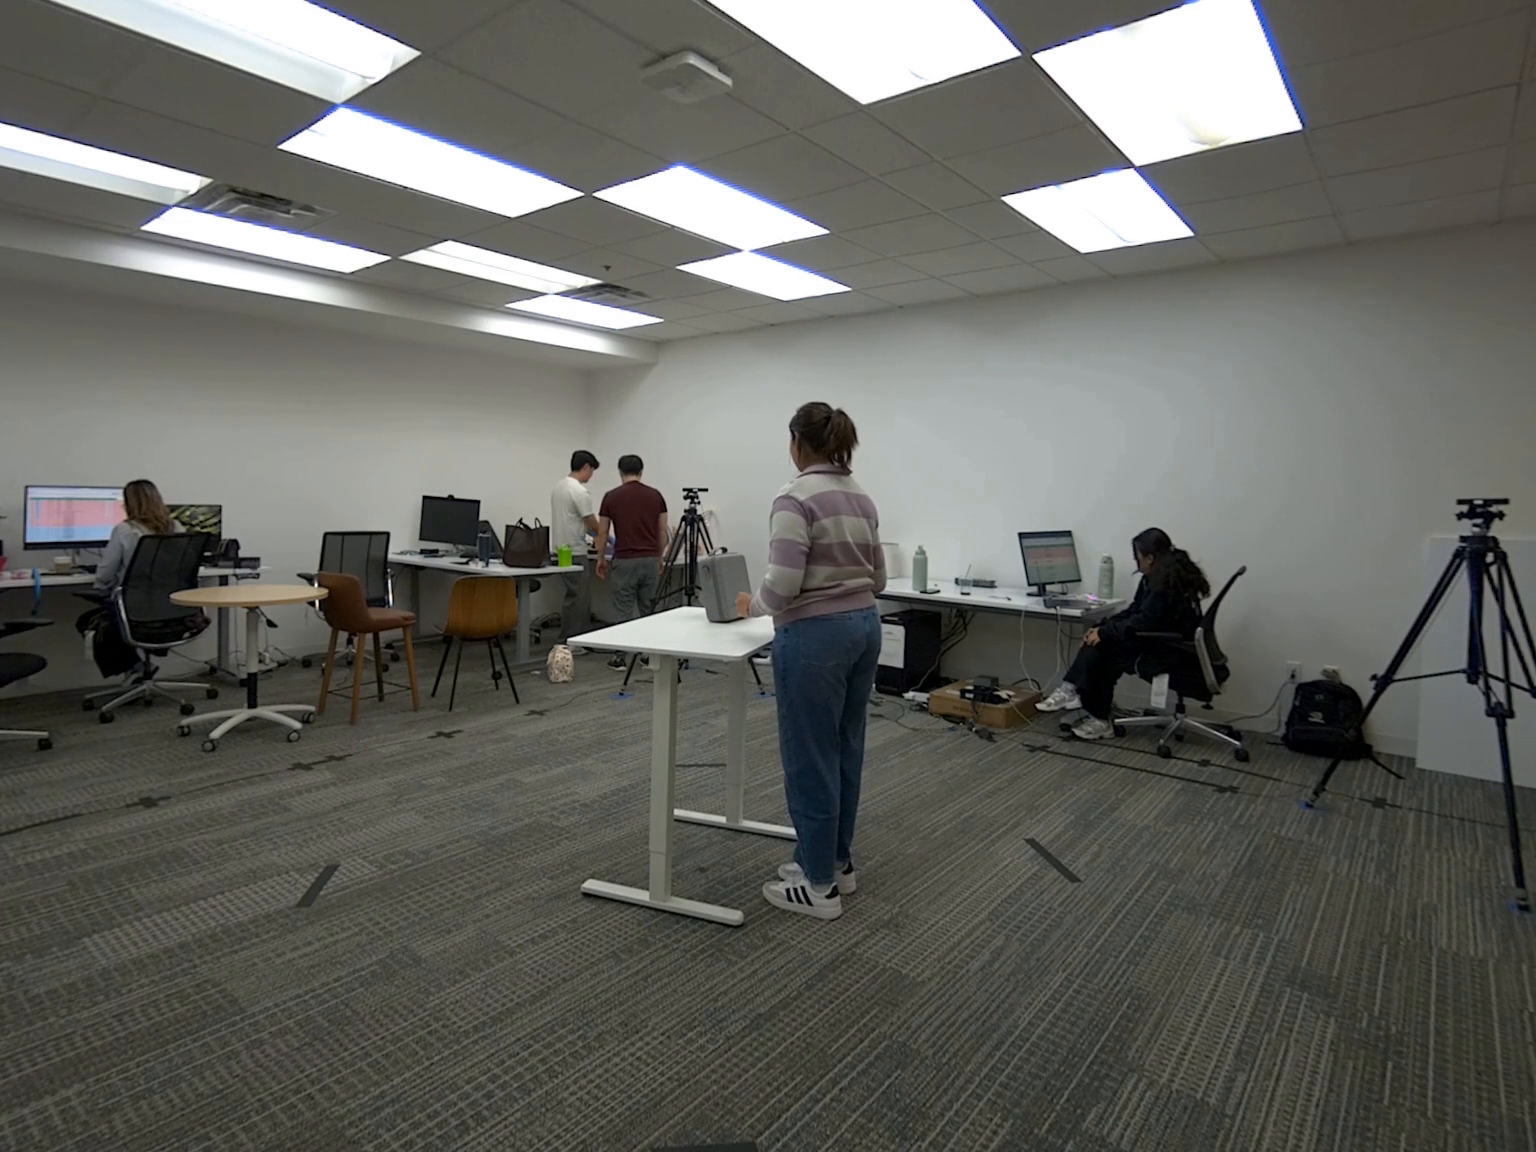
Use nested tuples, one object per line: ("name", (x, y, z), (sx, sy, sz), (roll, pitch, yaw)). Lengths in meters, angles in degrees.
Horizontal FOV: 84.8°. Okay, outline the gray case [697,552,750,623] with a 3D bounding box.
("gray case", (-0.175, 0.036, 3.331), (0.106, 0.262, 0.251), (-9, -3, 23))
